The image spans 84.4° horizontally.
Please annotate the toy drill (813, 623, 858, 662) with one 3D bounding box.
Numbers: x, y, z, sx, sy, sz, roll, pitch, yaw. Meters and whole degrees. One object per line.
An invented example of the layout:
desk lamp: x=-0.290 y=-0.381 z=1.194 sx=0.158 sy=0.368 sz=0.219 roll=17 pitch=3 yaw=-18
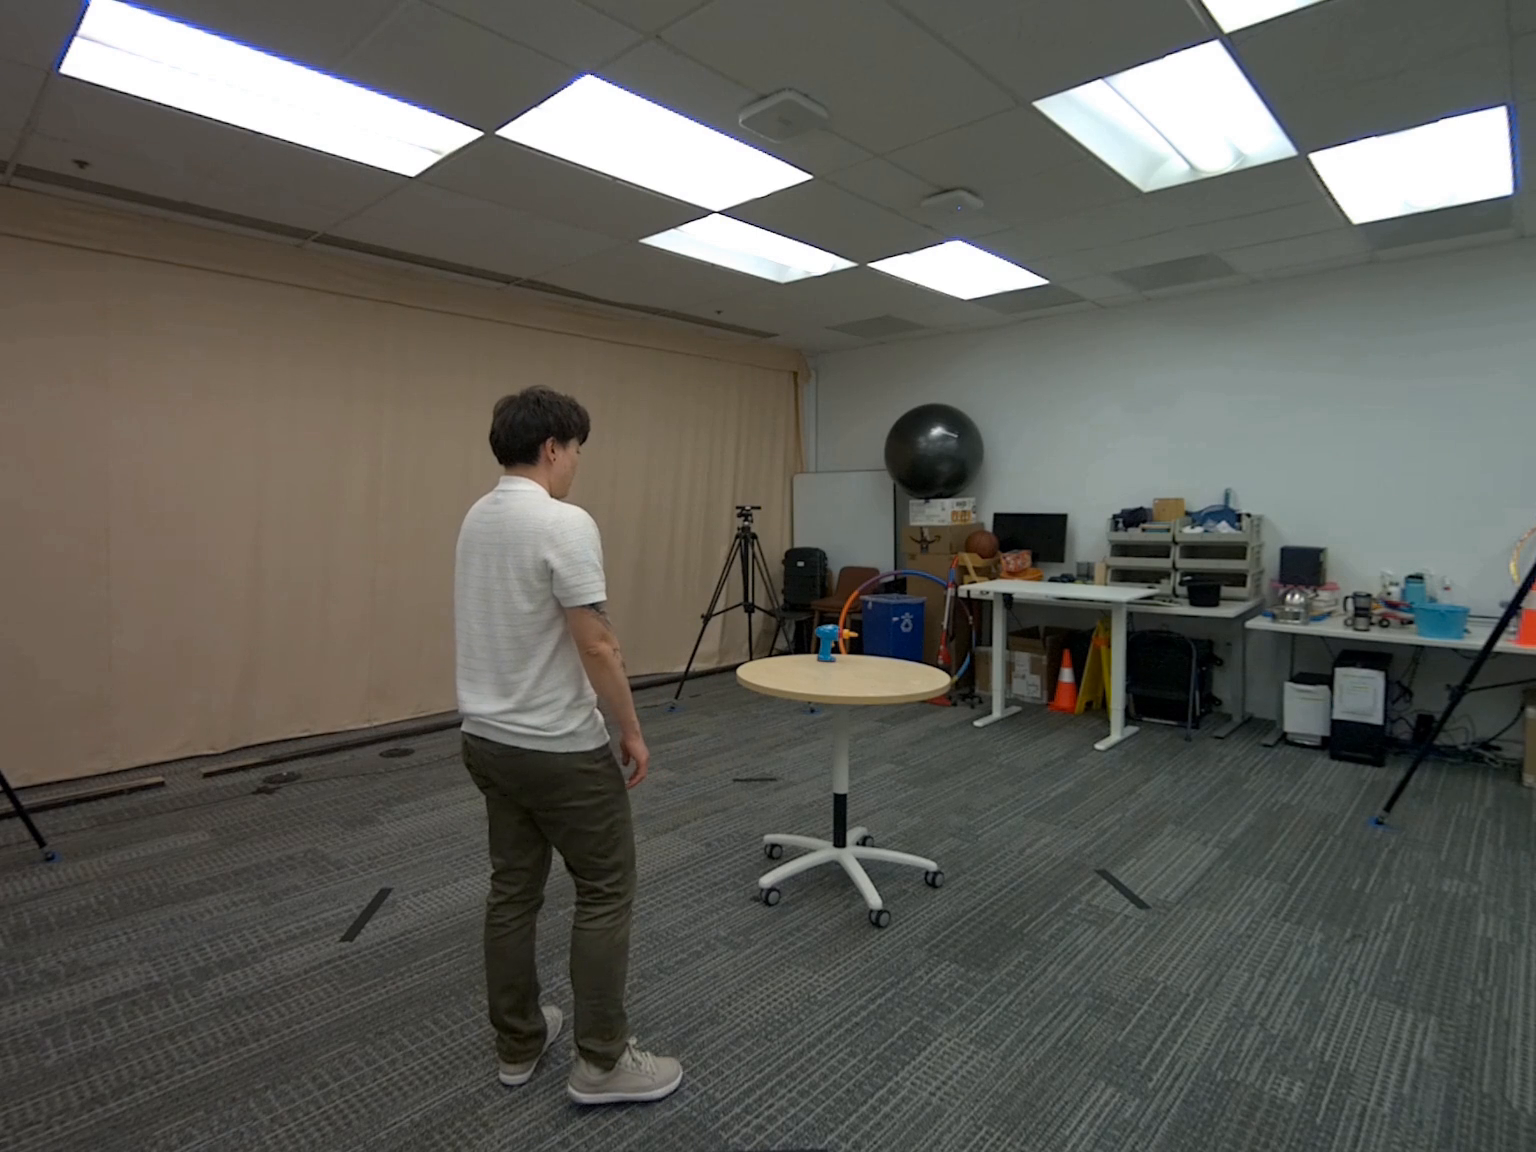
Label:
toy drill: x=0.268 y=0.262 z=3.280 sx=0.172 sy=0.145 sz=0.060 roll=1 pitch=5 yaw=14
